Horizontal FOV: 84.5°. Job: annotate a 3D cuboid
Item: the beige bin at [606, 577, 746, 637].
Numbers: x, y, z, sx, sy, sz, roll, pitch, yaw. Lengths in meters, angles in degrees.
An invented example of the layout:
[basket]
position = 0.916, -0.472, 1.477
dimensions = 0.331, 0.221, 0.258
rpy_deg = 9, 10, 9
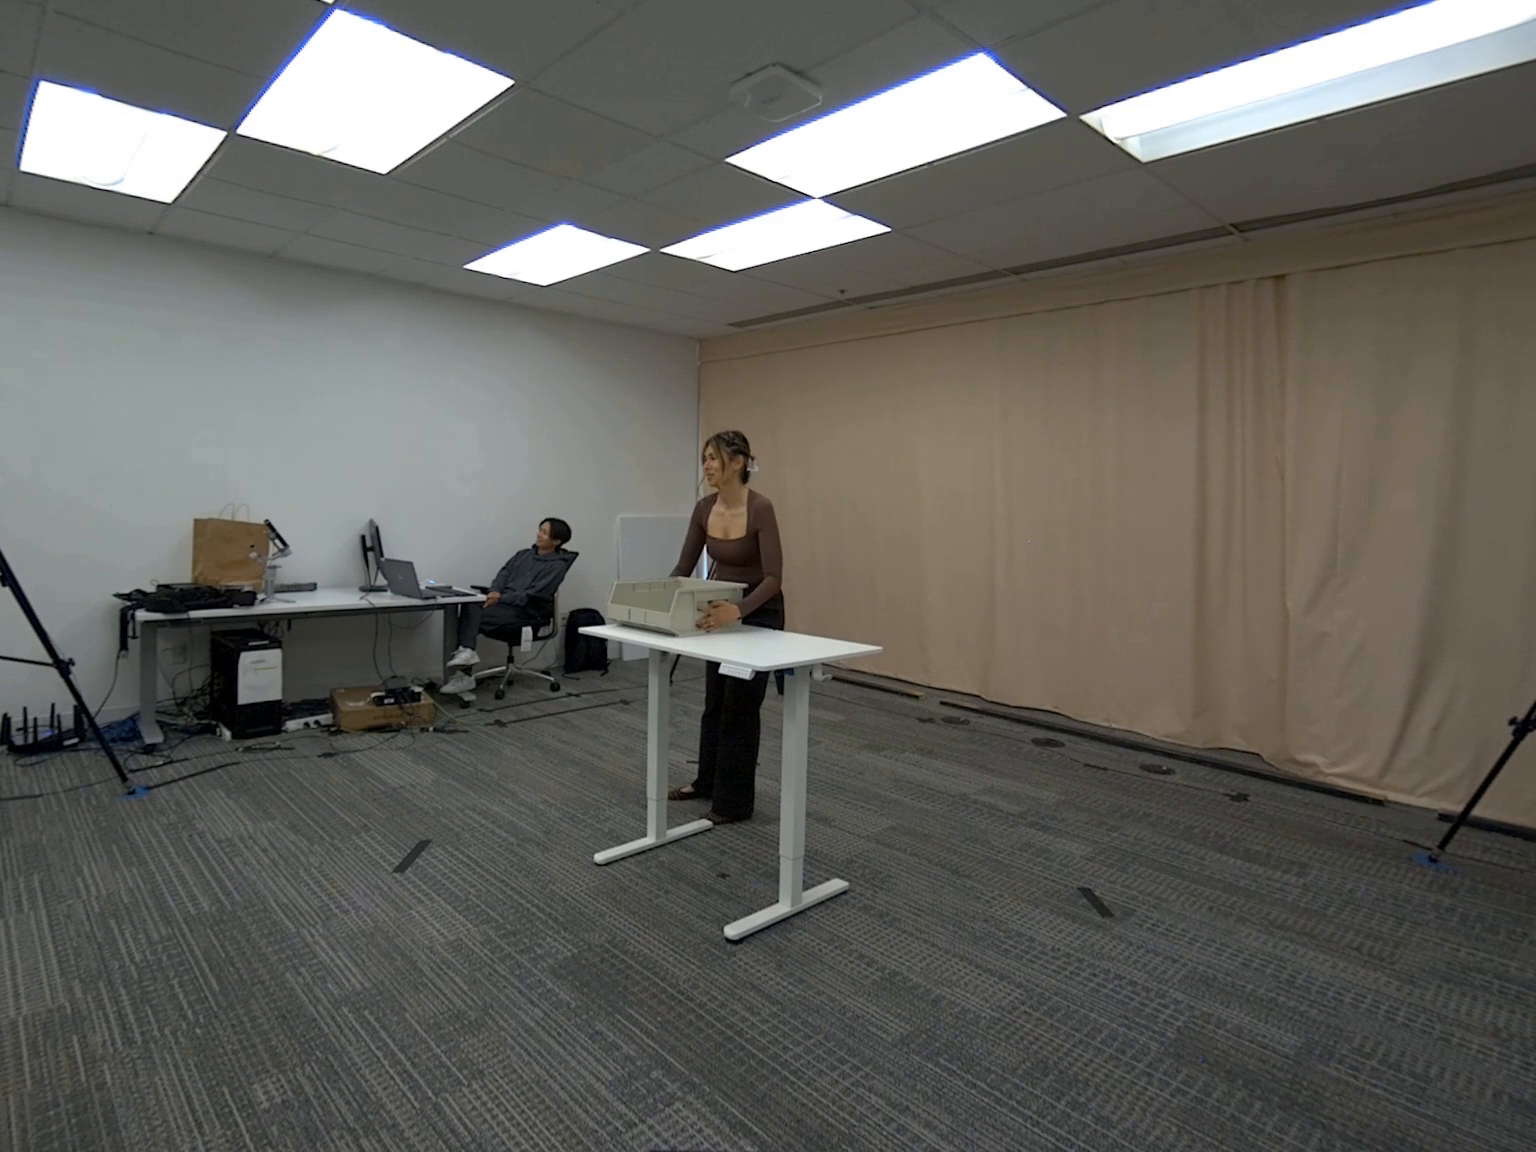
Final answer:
[beige bin]
position = -0.369, 0.117, 3.278
dimensions = 0.368, 0.189, 0.433
rpy_deg = -1, 4, -44
